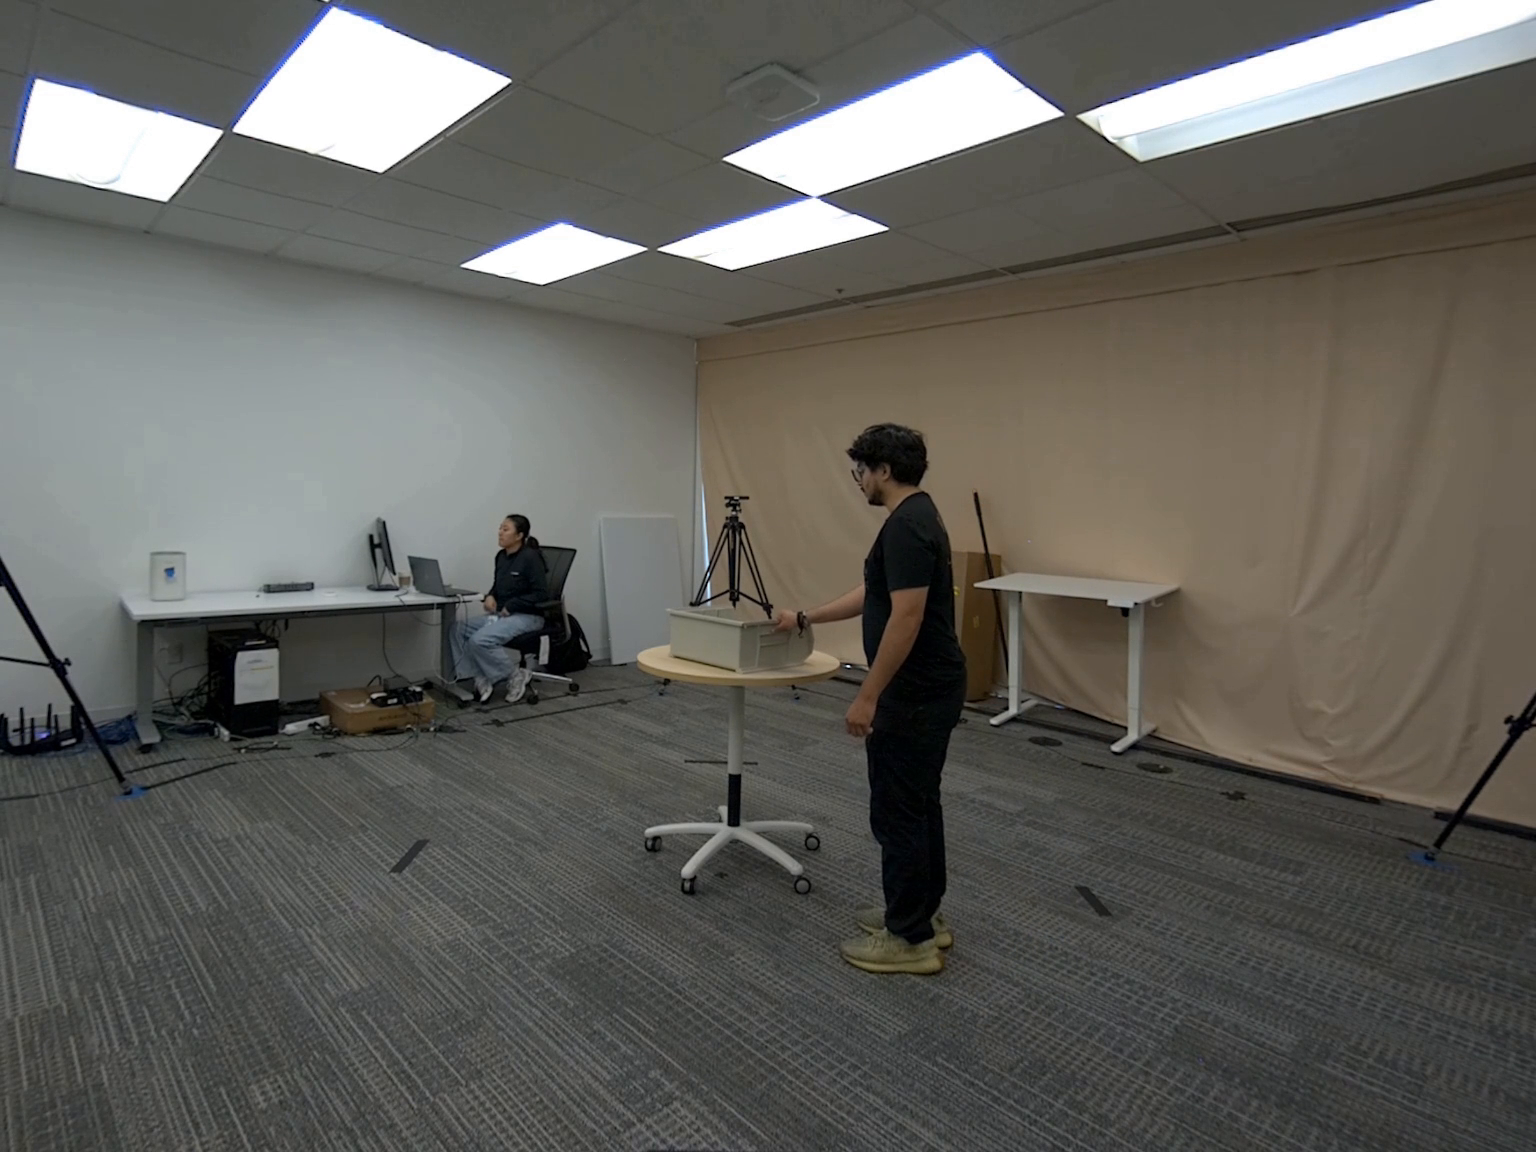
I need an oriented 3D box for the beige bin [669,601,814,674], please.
[{"bbox_3d":[-0.113,0.226,3.143,0.369,0.188,0.433,-5,9,-43],"label":"beige bin"}]
